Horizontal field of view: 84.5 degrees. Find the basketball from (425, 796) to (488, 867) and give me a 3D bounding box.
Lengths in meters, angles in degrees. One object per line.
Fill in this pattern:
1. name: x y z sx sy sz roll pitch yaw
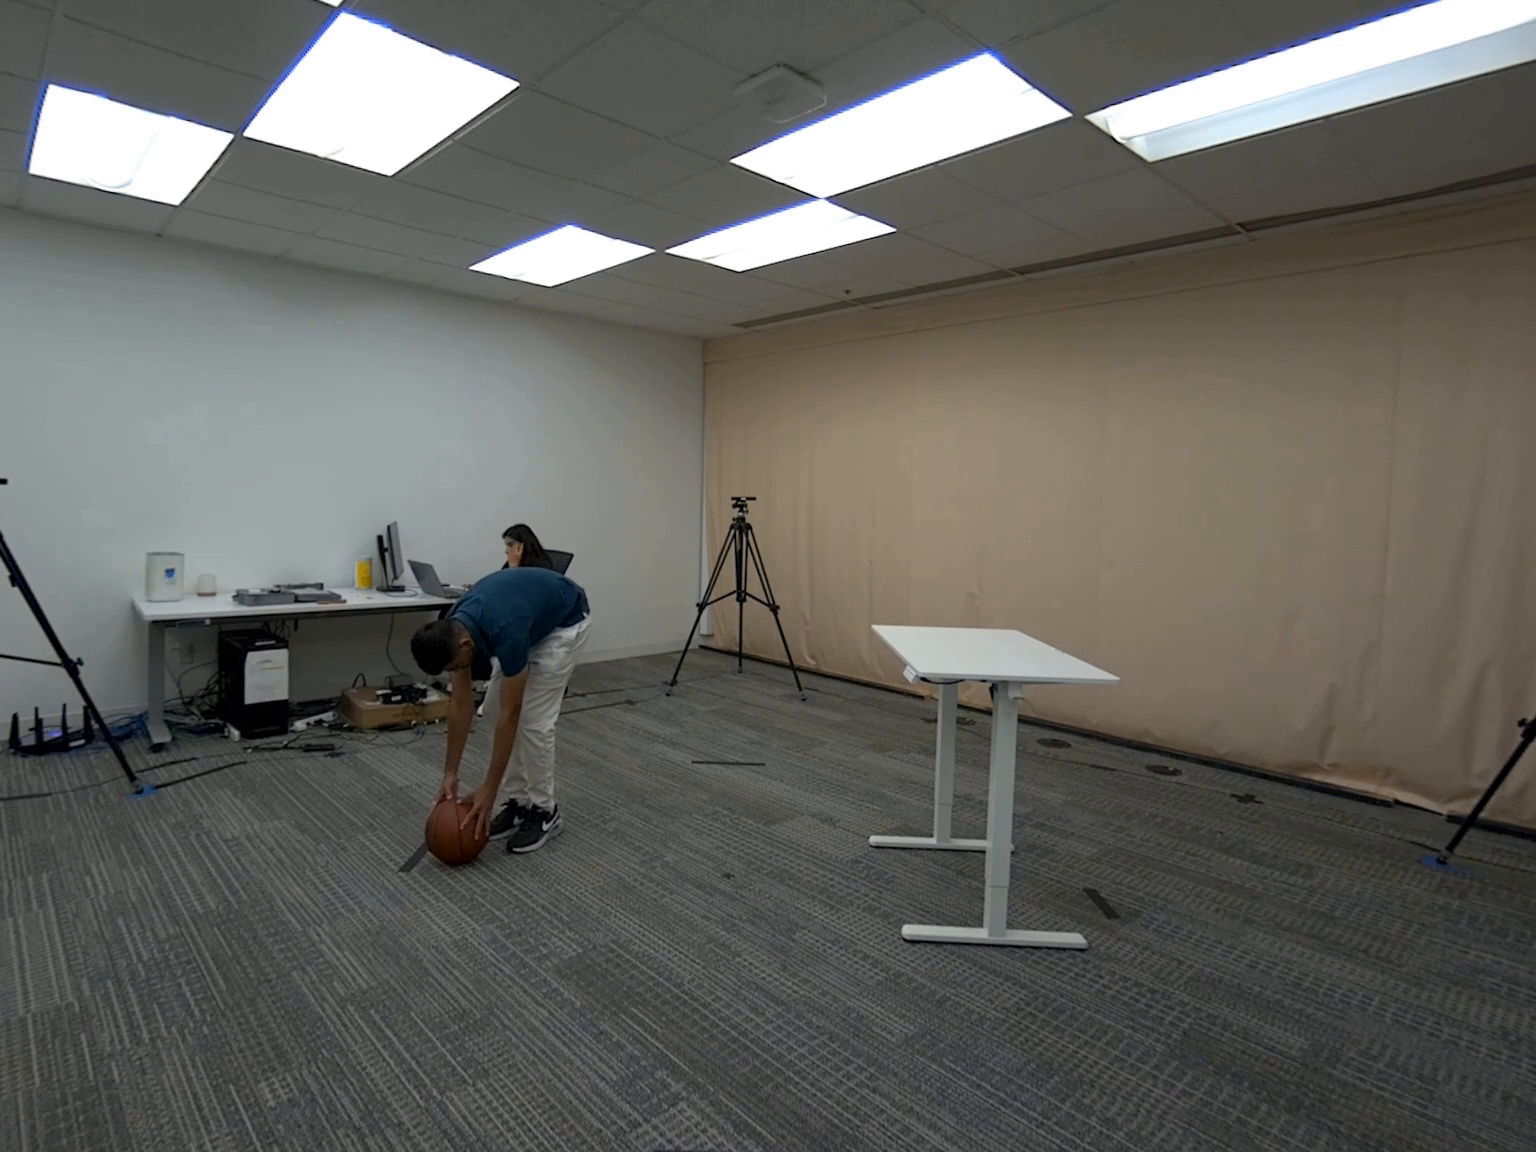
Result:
1. basketball: -1.179 0.958 3.171 0.236 0.235 0.237 1 4 -1
